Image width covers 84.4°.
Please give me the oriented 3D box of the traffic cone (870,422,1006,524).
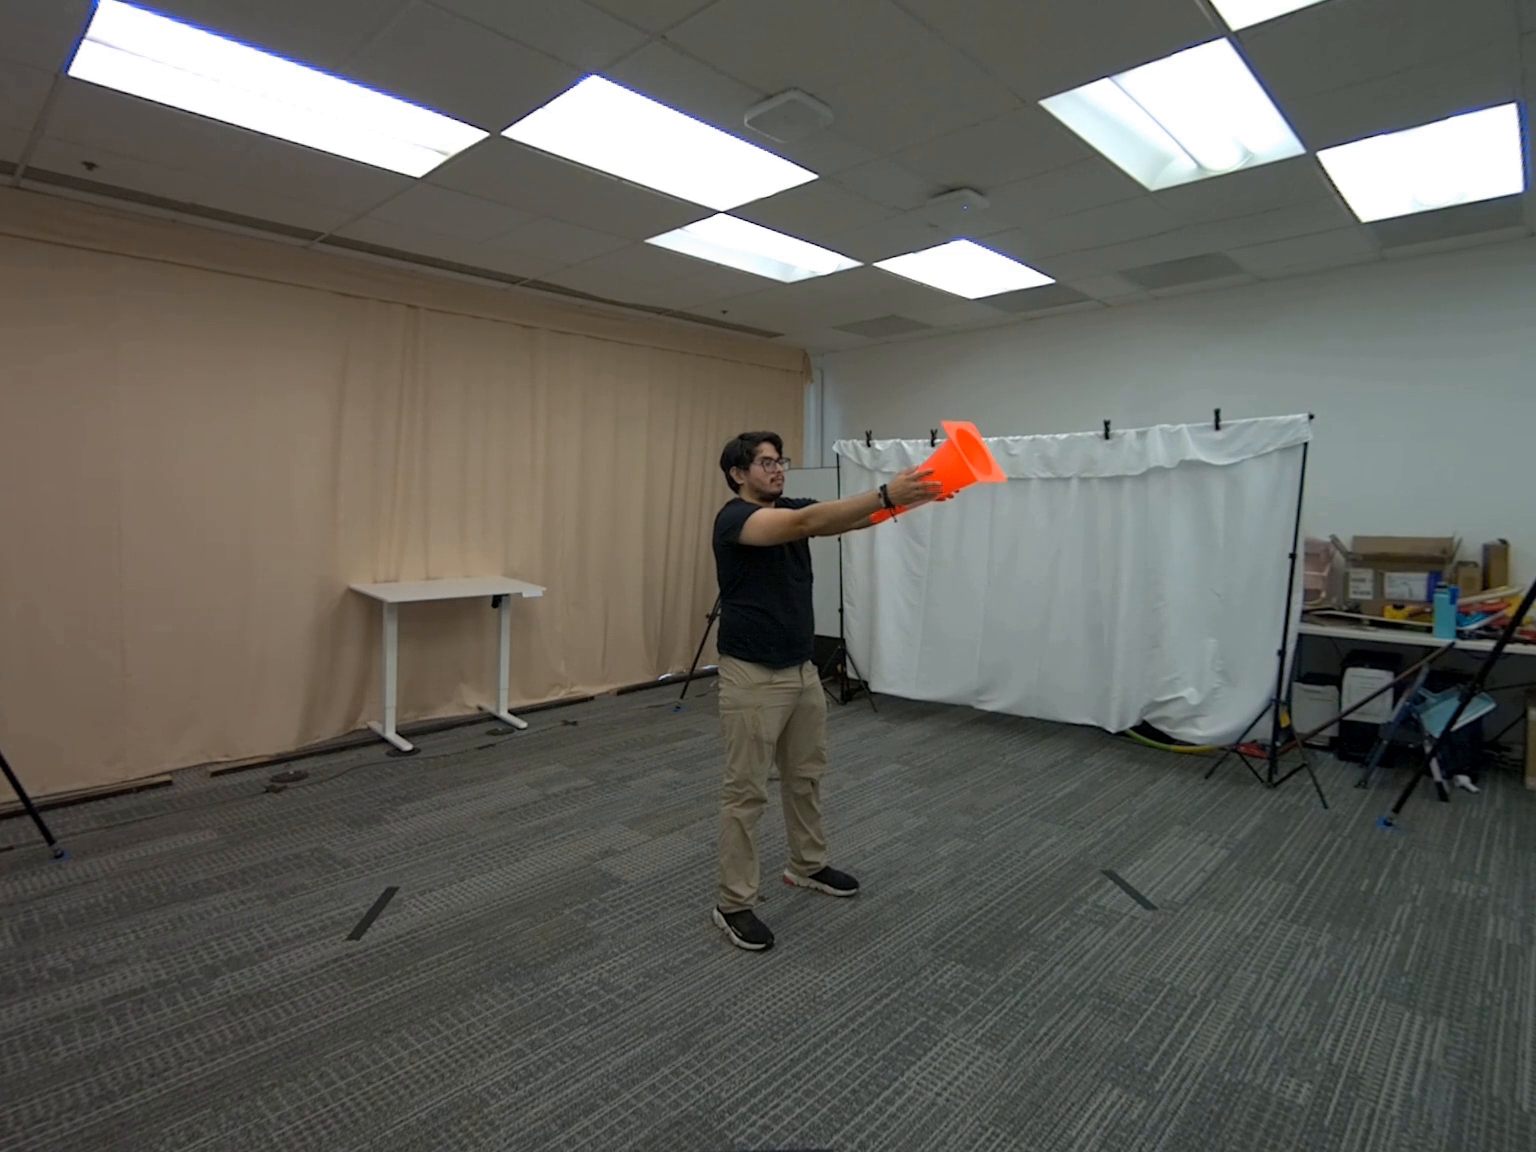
[{"bbox_3d":[0.459,-0.253,2.447,0.389,0.206,0.199,-36,-17,36],"label":"traffic cone"}]
